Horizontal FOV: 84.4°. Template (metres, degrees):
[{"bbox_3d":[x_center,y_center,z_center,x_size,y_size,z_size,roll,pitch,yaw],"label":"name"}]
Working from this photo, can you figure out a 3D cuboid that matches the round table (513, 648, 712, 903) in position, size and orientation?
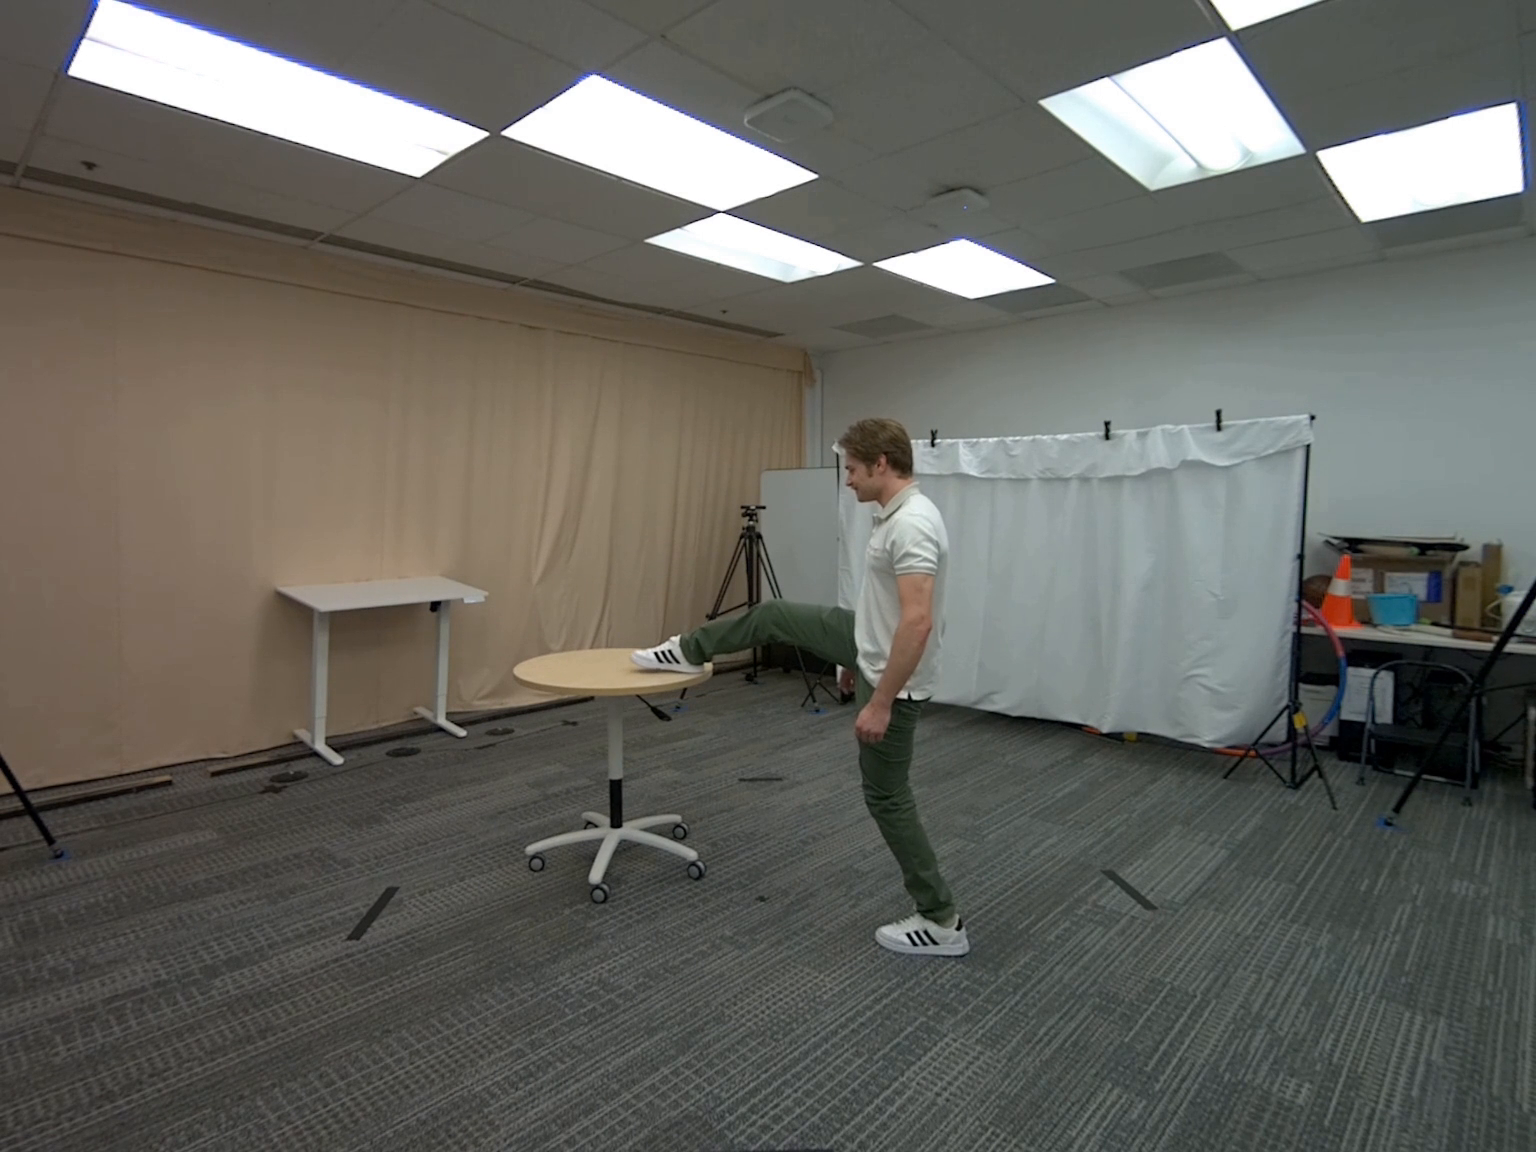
[{"bbox_3d":[-0.585,0.739,3.288,0.763,0.792,0.766,0,4,-2],"label":"round table"}]
